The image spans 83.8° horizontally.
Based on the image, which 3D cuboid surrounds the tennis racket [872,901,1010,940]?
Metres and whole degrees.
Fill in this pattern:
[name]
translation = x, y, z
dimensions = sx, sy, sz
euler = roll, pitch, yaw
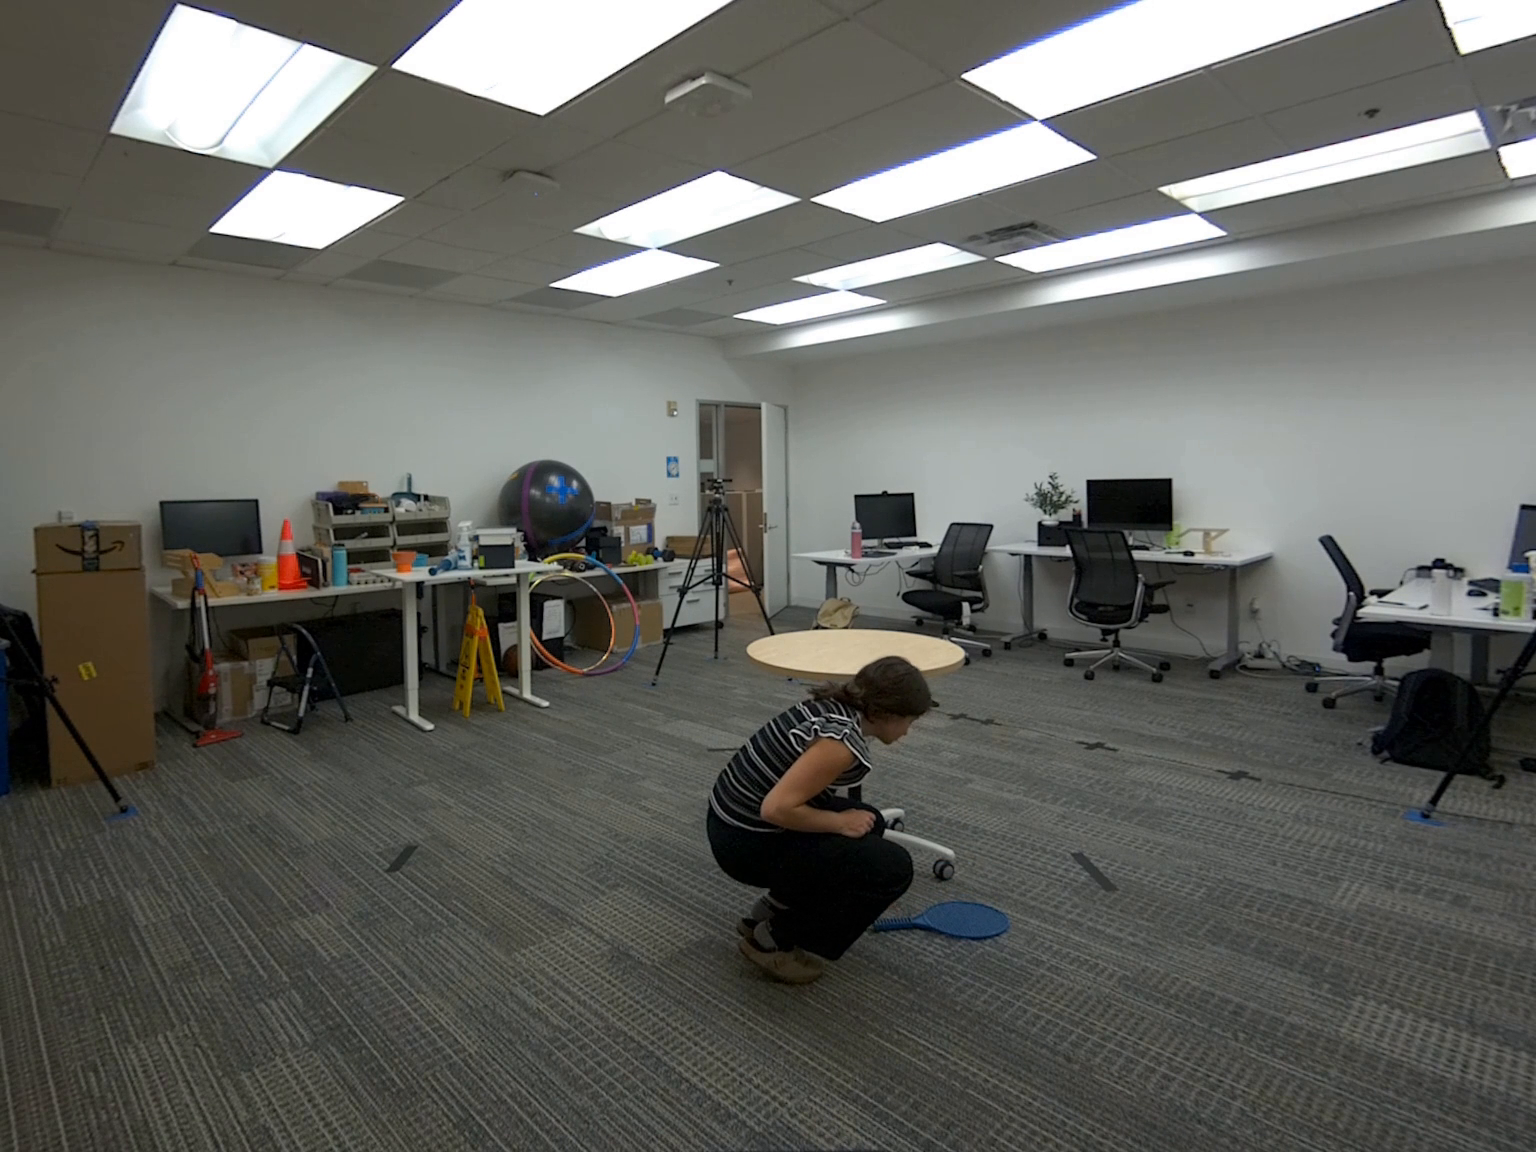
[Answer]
[tennis racket]
translation = 0.521, 1.046, 2.693
dimensions = 0.431, 0.031, 0.216
euler = -1, 7, -6
